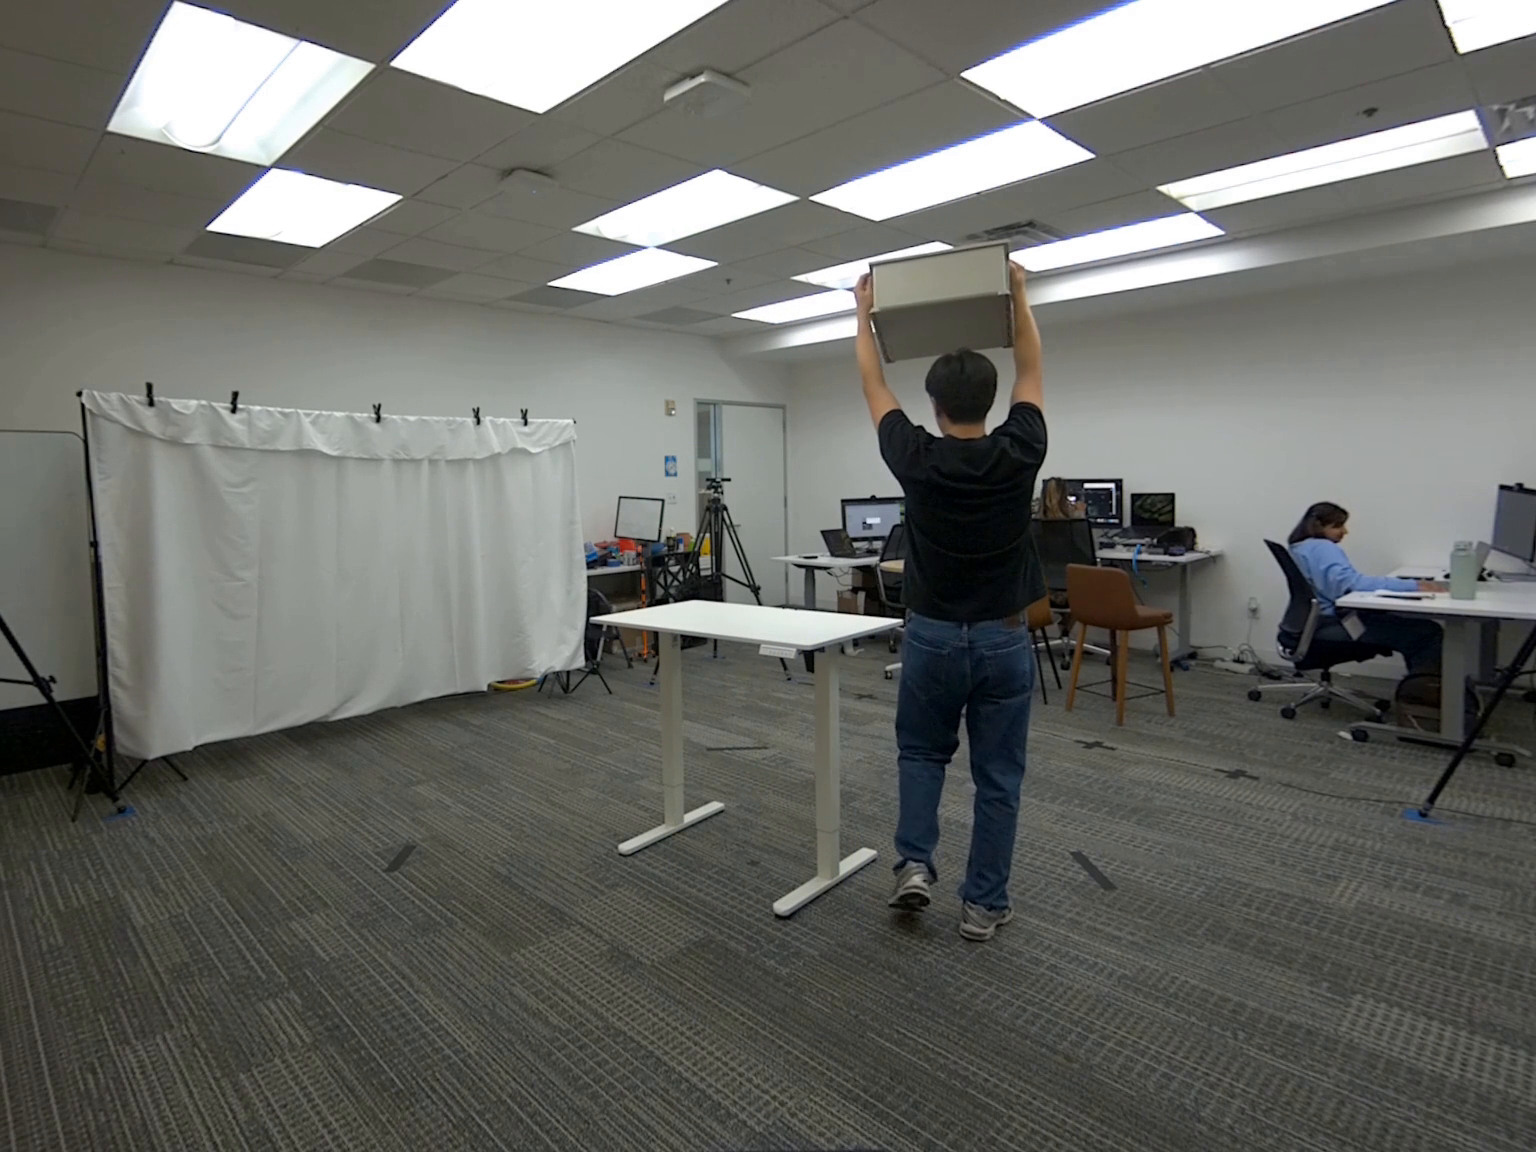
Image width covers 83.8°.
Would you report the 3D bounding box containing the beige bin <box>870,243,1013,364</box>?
[{"bbox_3d":[0.564,-0.852,2.730,0.429,0.192,0.365,-2,-17,18],"label":"beige bin"}]
